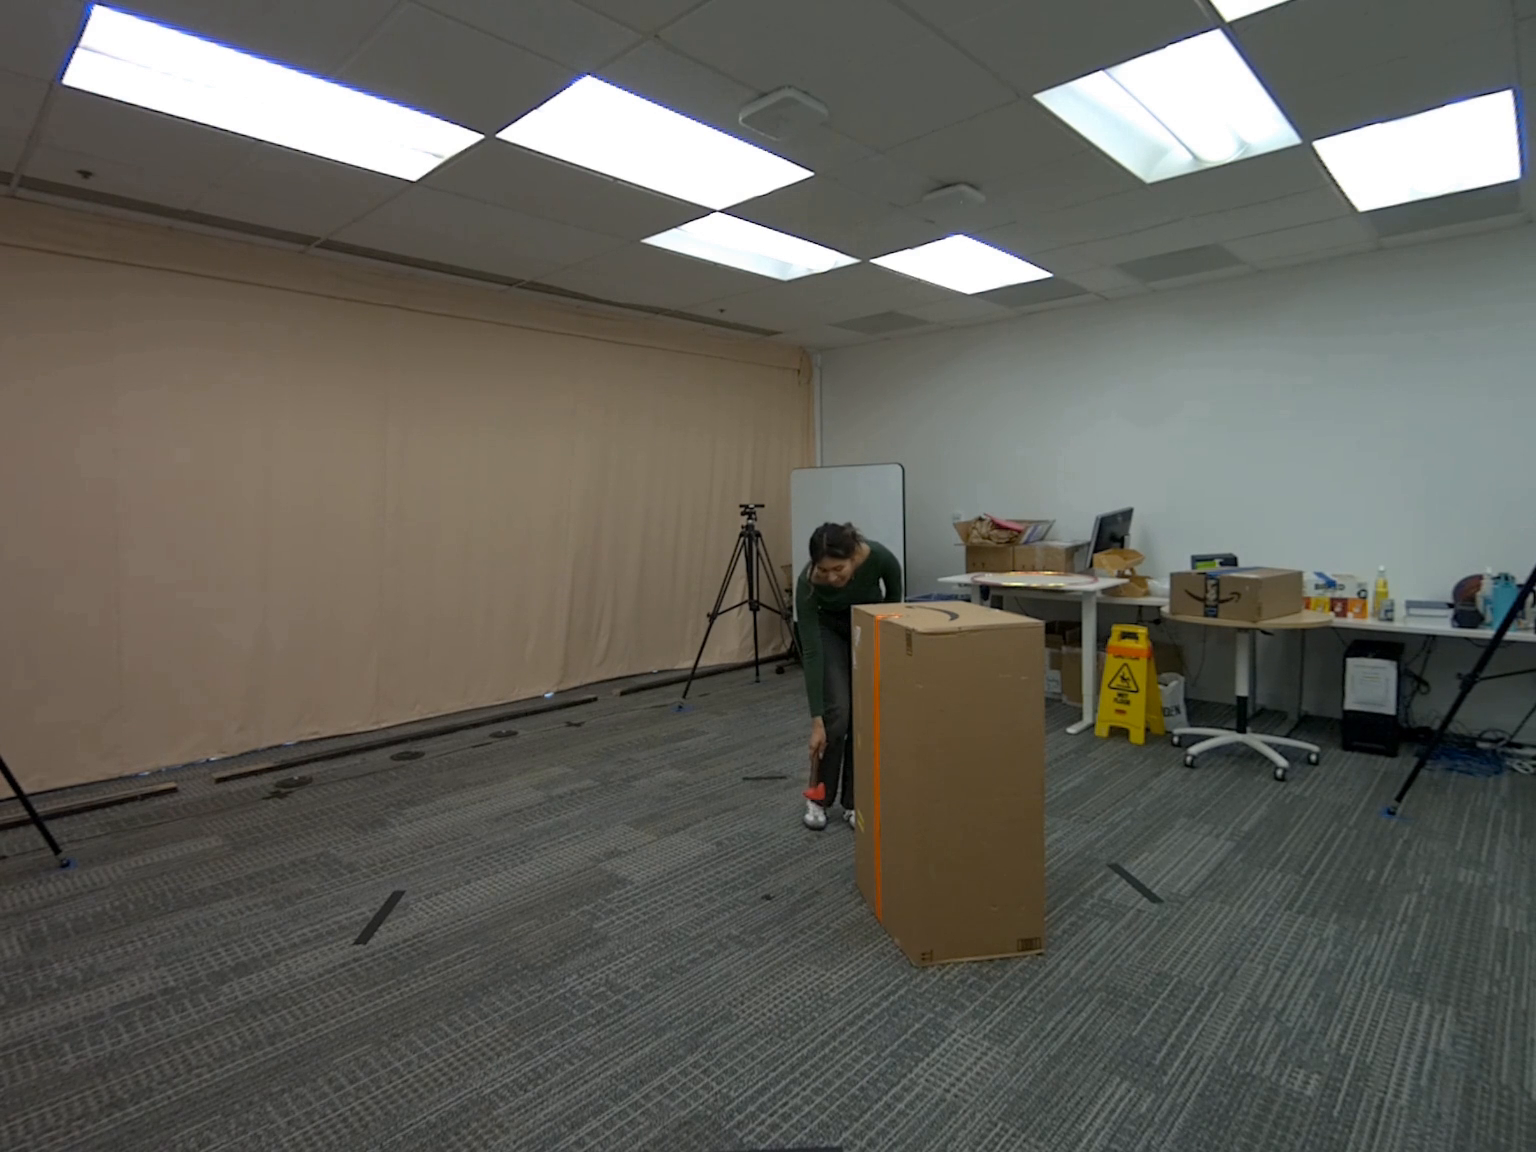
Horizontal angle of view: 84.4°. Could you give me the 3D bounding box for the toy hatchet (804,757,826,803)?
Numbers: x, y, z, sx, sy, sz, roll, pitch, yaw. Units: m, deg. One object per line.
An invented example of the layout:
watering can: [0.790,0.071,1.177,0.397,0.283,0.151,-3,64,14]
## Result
toy hatchet: [0.222,0.780,3.402,0.127,0.271,0.030,40,-35,-27]
